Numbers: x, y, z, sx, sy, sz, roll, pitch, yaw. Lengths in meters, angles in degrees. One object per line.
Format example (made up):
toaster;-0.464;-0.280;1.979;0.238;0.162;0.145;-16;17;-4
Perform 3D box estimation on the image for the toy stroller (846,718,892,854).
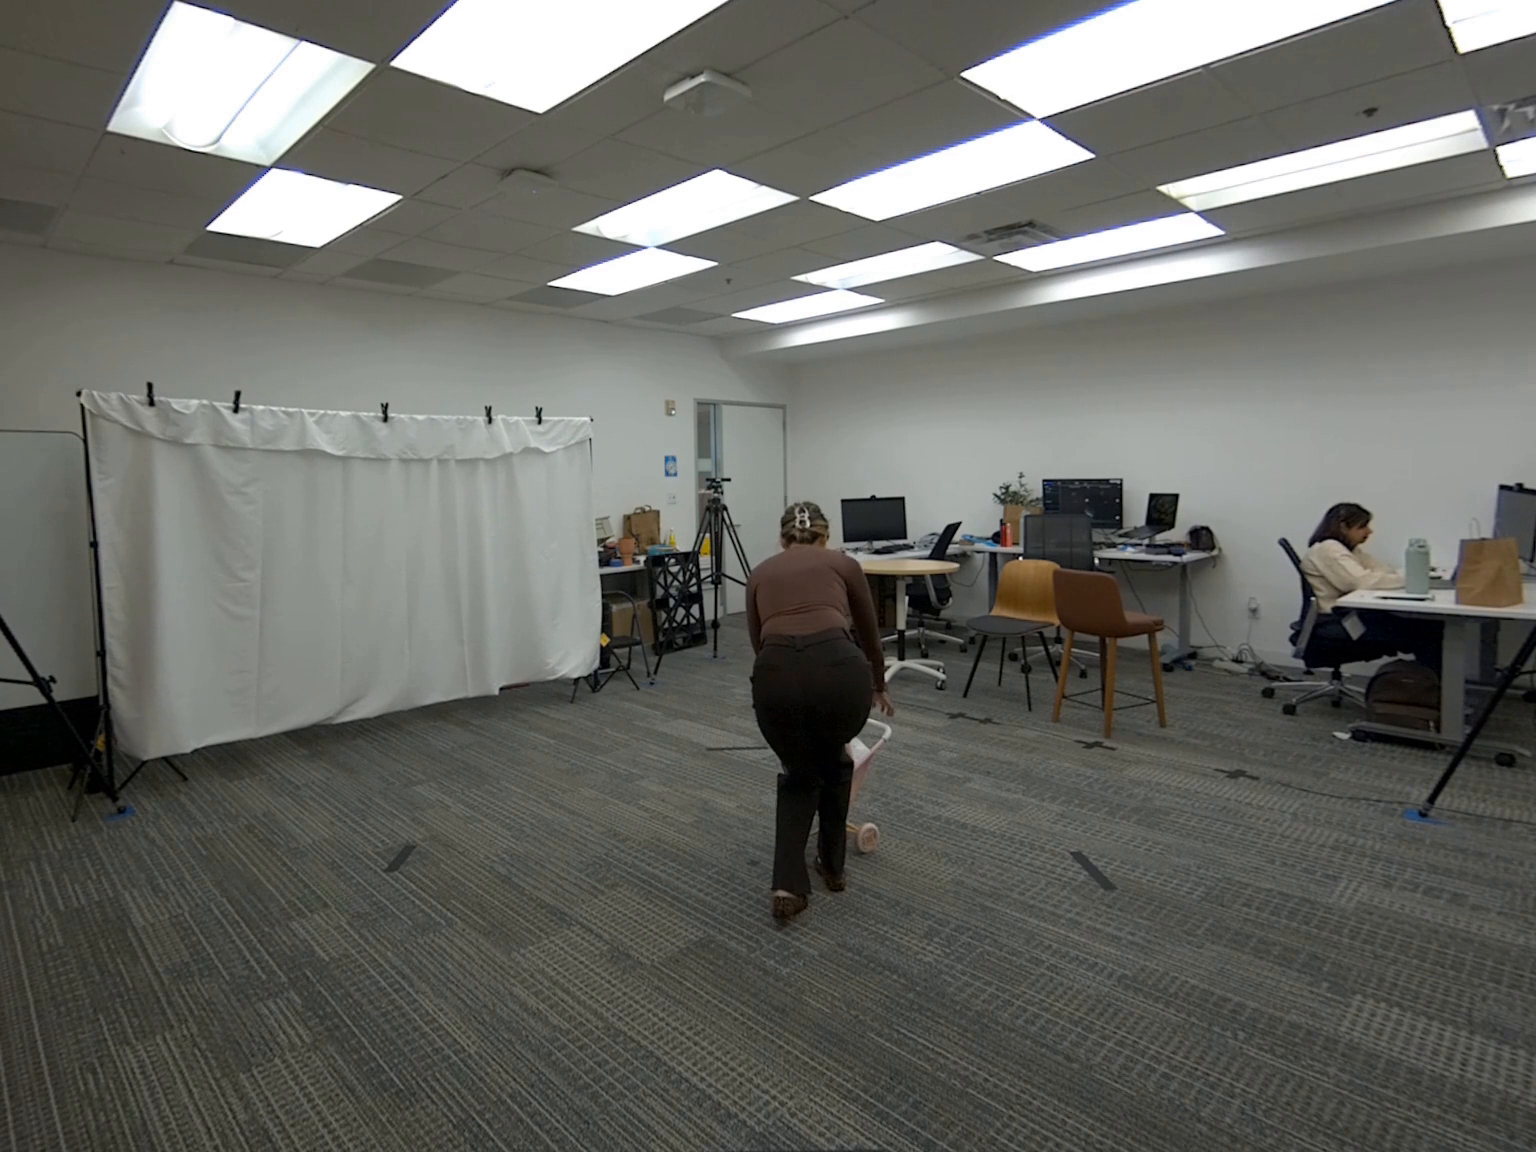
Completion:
toy stroller;0.248;0.789;3.246;0.332;0.536;0.288;14;-3;-25
